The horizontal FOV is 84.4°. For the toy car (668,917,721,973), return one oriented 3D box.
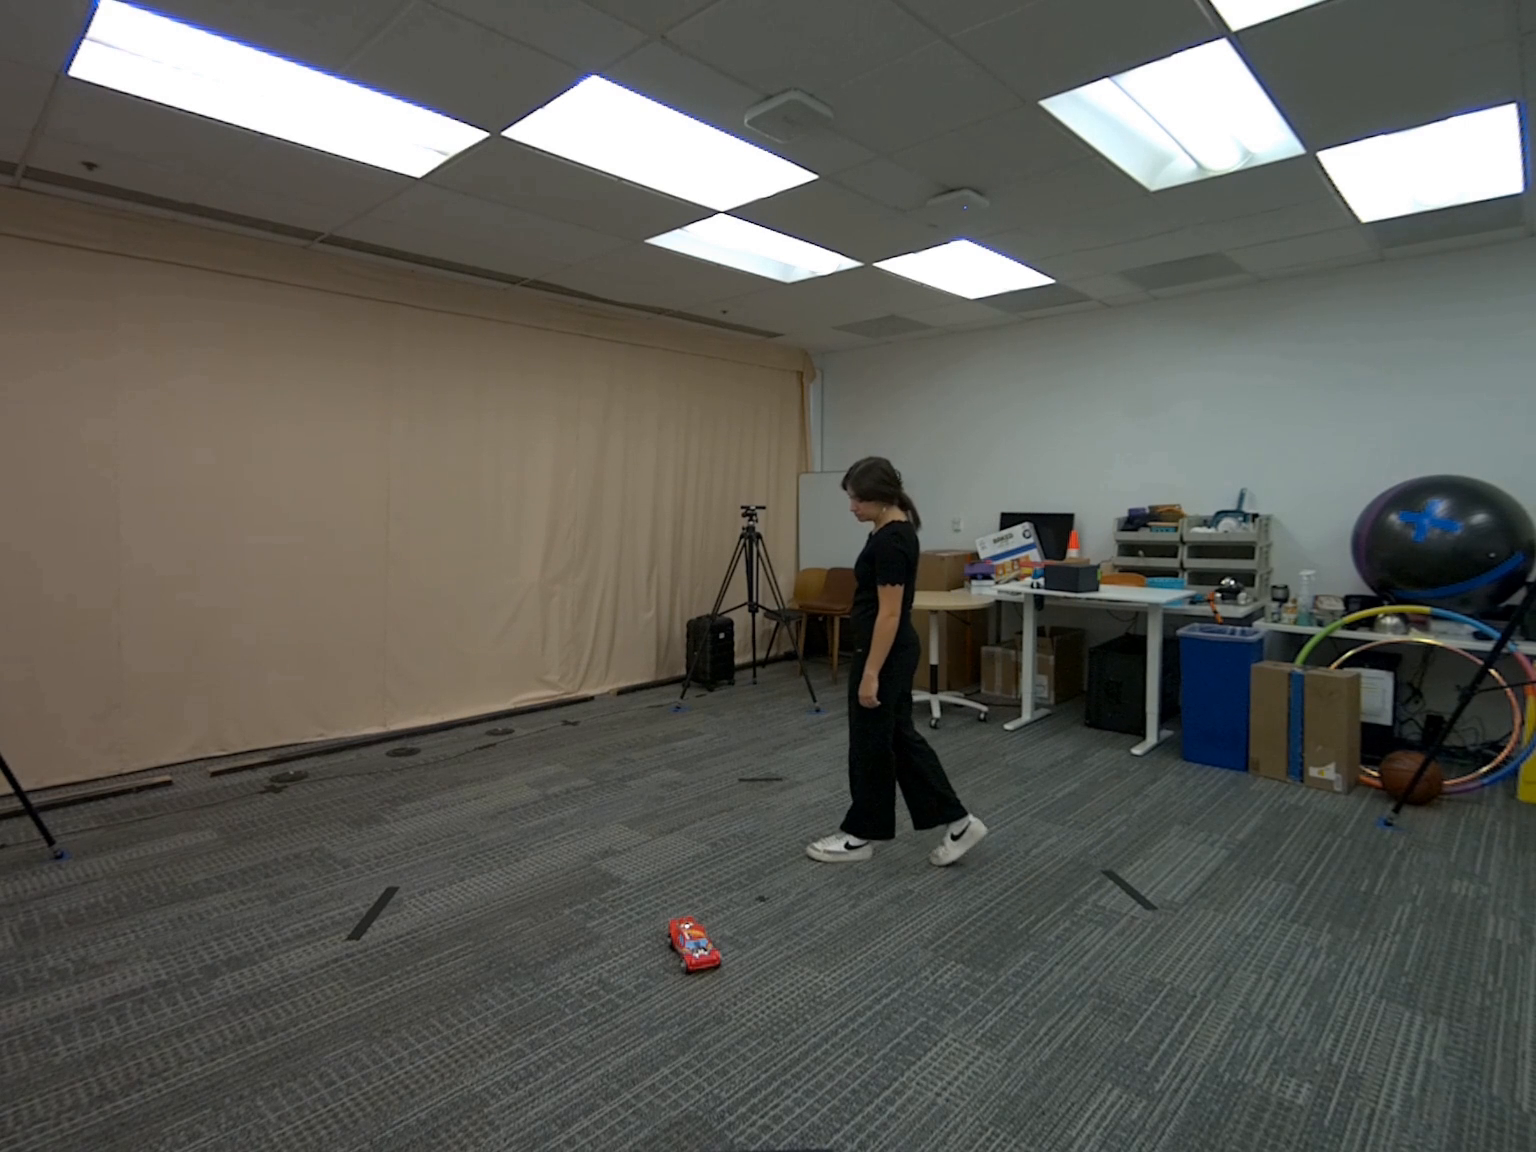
[{"bbox_3d":[-0.236,1.145,2.611,0.128,0.082,0.262,-2,15,-21],"label":"toy car"}]
